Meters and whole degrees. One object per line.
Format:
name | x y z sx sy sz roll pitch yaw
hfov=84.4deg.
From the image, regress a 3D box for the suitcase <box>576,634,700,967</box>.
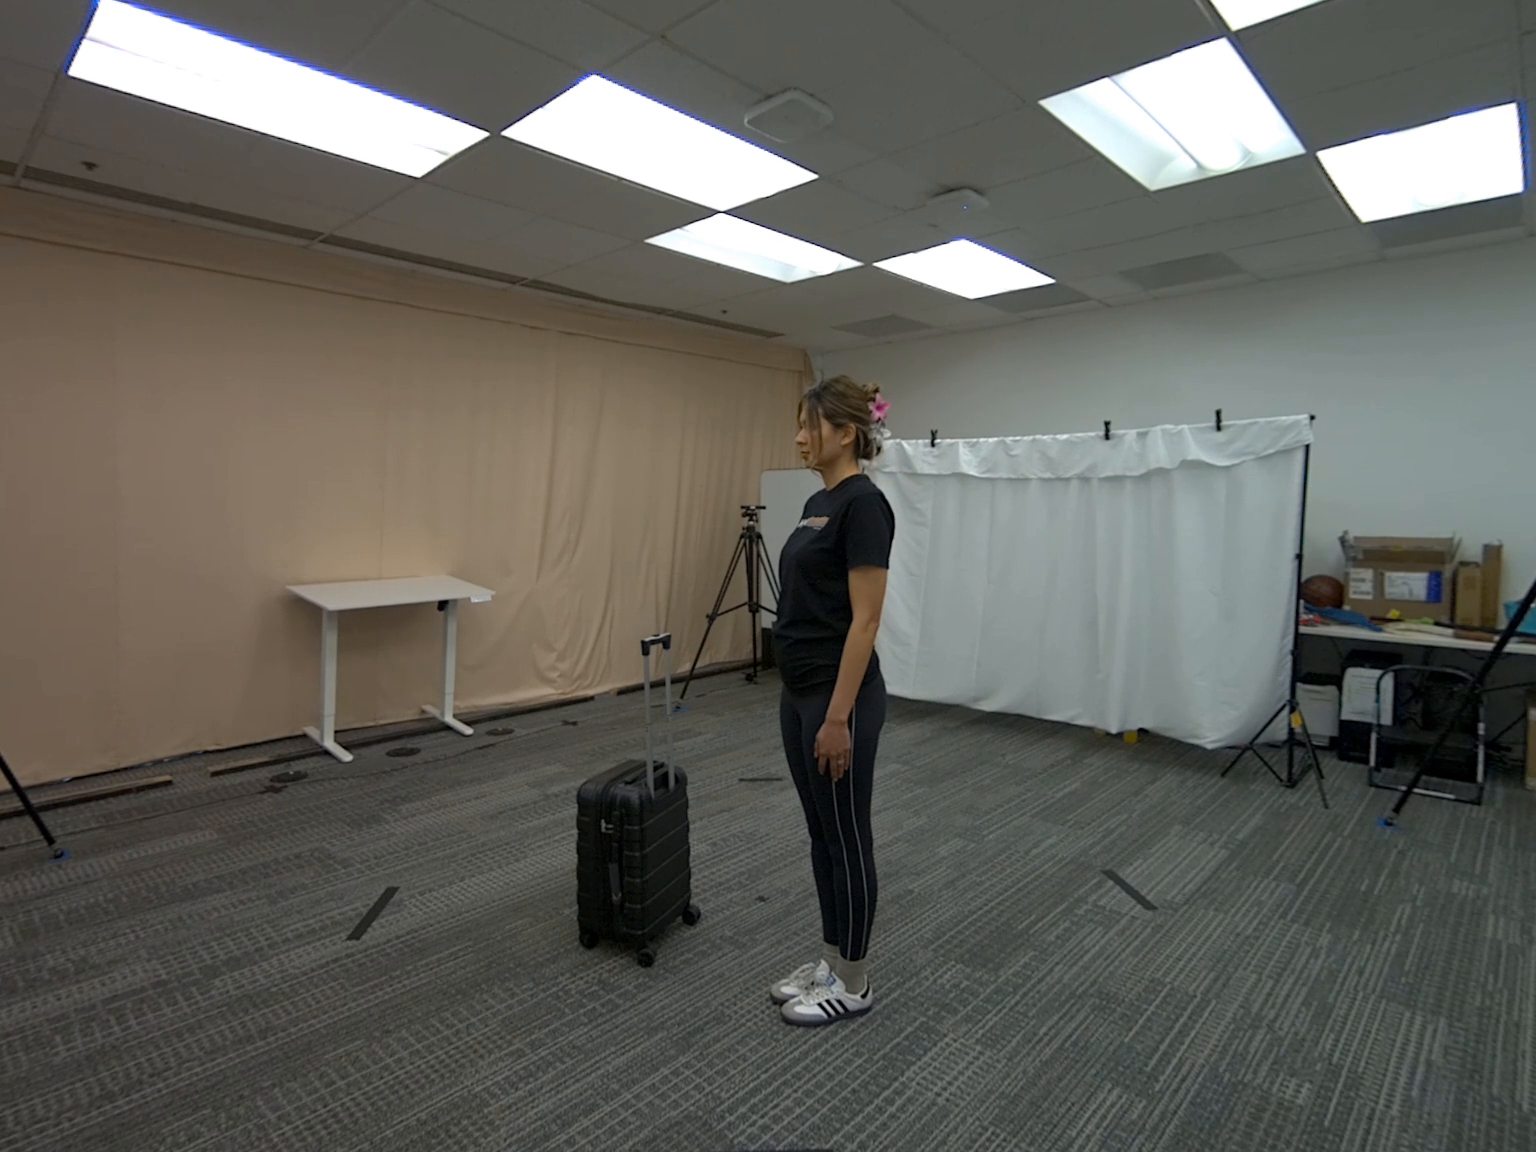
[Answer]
suitcase | -0.445 0.692 2.715 0.263 0.977 0.375 -2 2 24
